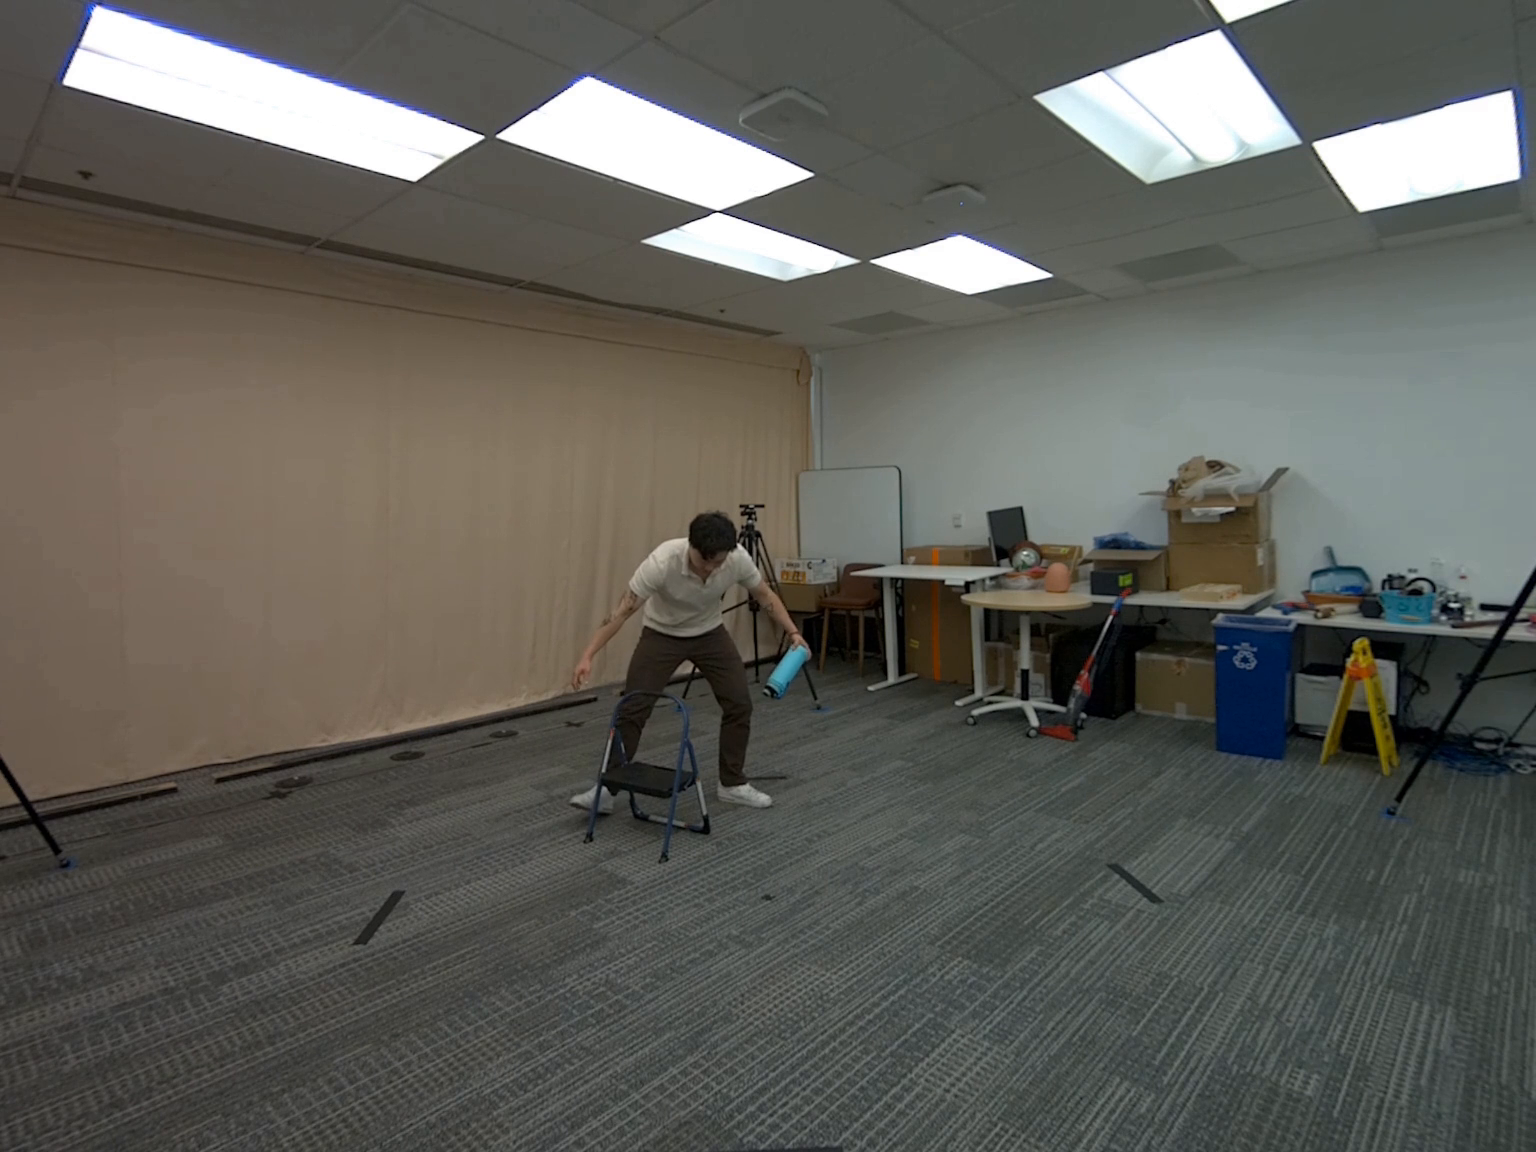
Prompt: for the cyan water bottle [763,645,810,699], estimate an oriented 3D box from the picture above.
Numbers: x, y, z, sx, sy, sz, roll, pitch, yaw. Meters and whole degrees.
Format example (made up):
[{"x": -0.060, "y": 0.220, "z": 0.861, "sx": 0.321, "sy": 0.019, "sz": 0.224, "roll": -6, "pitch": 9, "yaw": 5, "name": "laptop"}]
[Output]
[{"x": 0.061, "y": 0.451, "z": 3.802, "sx": 0.095, "sy": 0.090, "sz": 0.282, "roll": 3, "pitch": 47, "yaw": 47, "name": "cyan water bottle"}]
